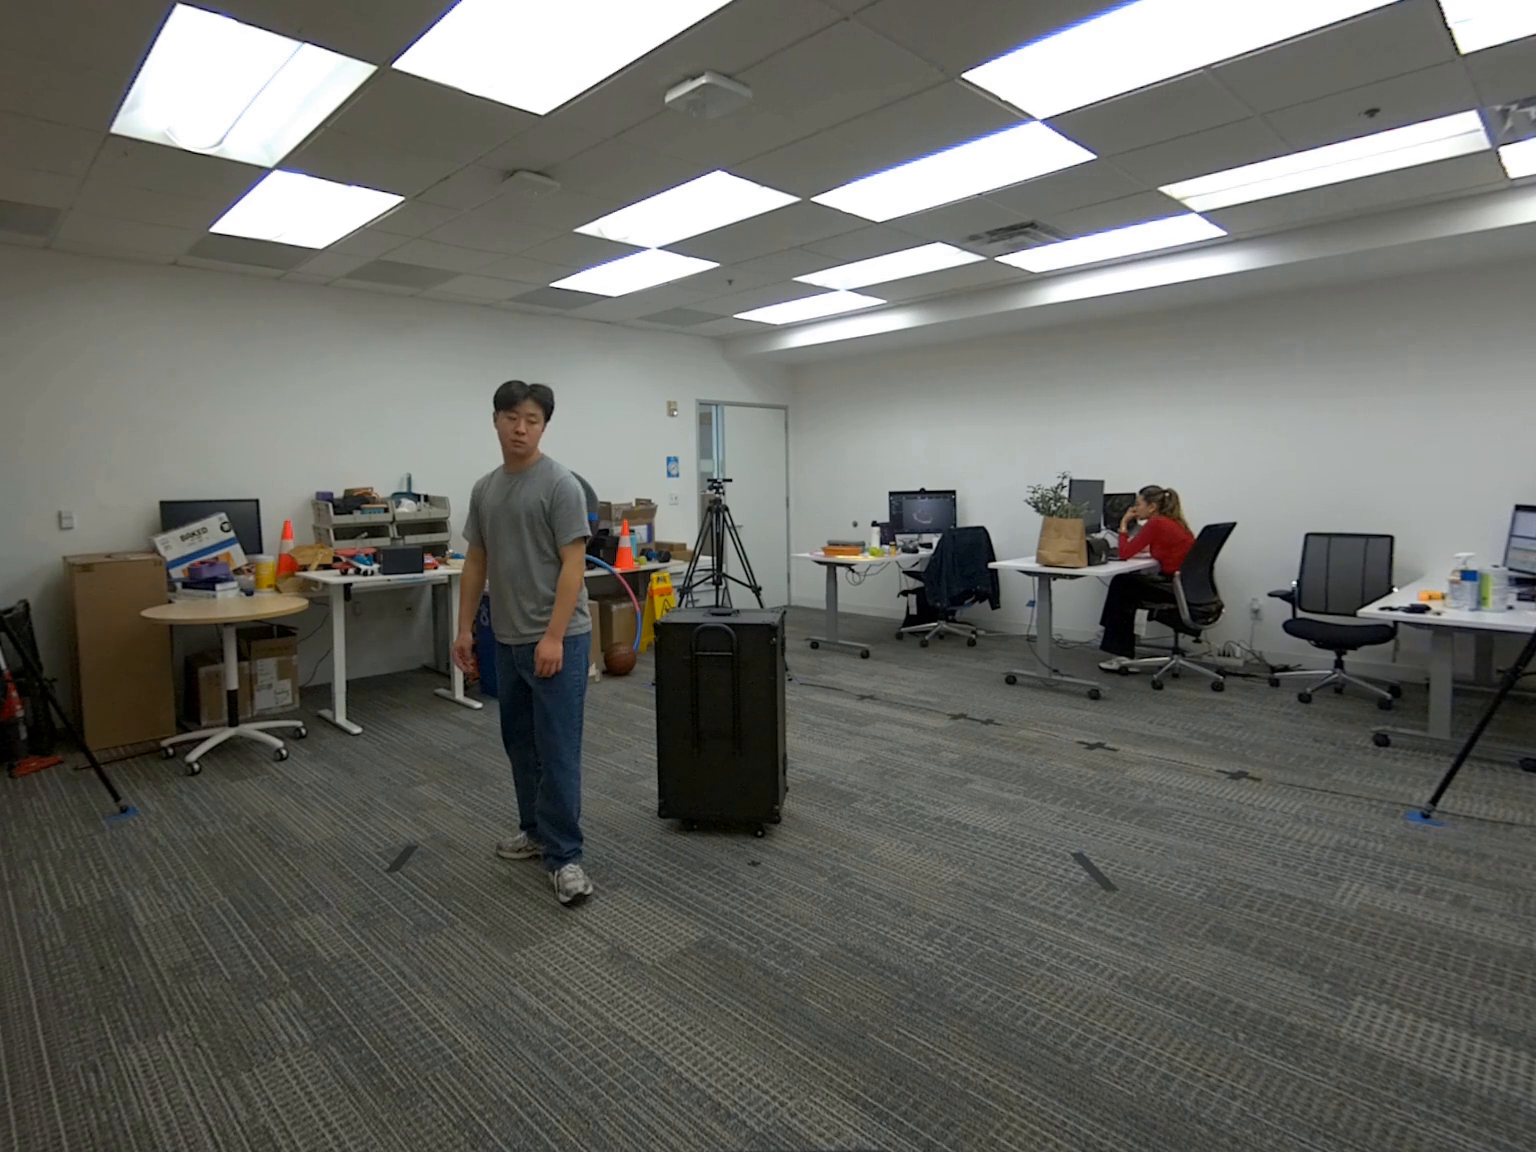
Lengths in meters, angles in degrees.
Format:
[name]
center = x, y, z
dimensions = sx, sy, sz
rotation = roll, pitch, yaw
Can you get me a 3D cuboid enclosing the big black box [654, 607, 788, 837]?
[big black box]
center = -0.173, 0.580, 3.464
dimensions = 0.526, 0.857, 0.394
rotation = 1, 5, 9
